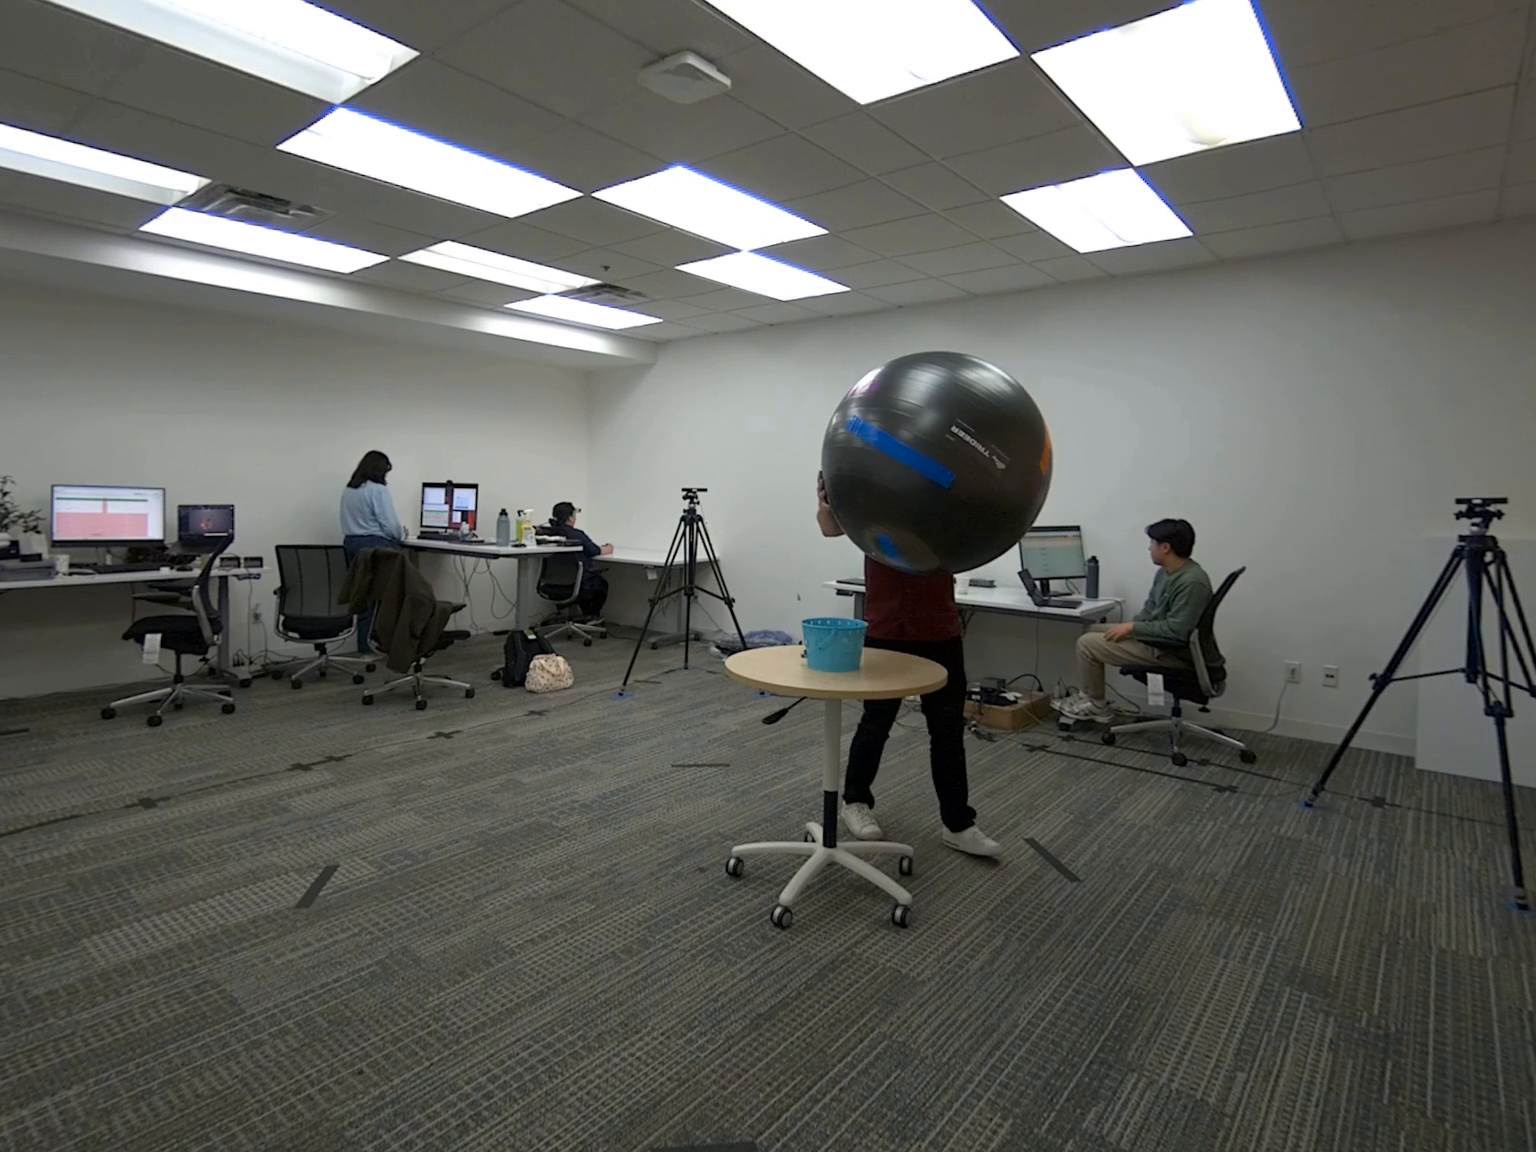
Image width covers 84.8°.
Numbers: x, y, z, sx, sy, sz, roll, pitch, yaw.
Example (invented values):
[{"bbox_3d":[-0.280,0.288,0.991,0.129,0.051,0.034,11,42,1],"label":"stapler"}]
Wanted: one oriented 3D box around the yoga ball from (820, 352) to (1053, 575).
[{"bbox_3d":[0.565,-0.377,2.898,0.757,0.756,0.761,1,4,-2],"label":"yoga ball"}]
